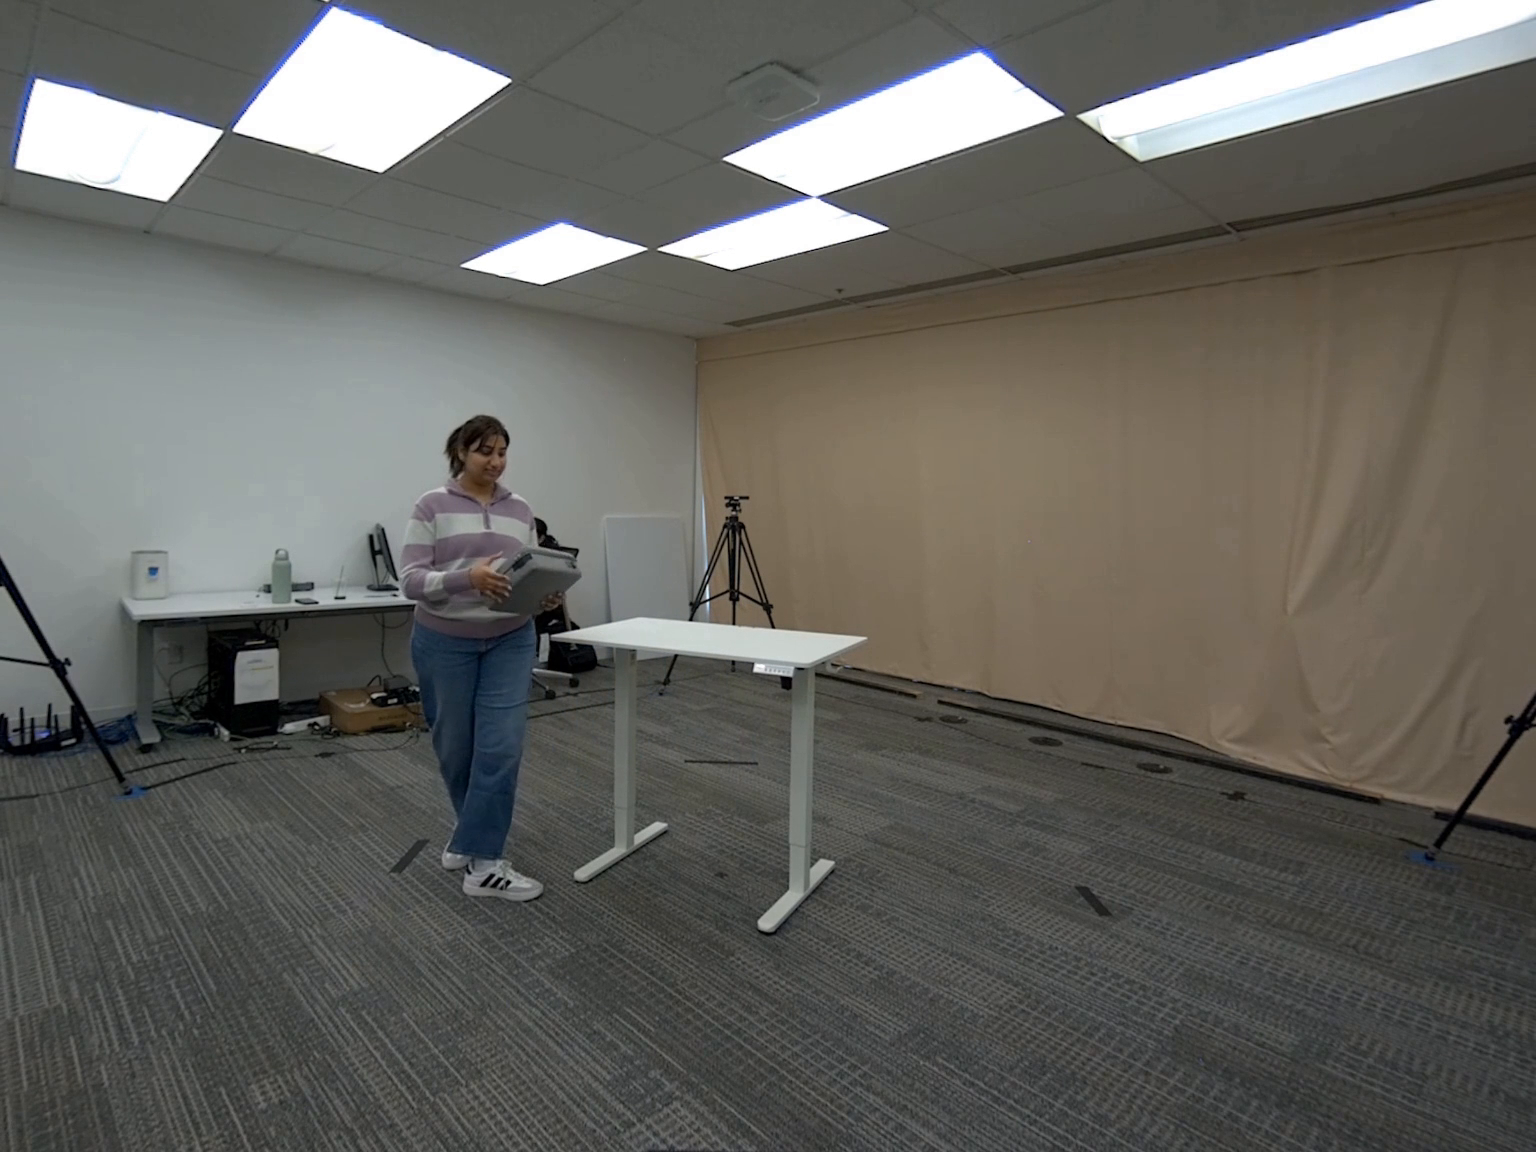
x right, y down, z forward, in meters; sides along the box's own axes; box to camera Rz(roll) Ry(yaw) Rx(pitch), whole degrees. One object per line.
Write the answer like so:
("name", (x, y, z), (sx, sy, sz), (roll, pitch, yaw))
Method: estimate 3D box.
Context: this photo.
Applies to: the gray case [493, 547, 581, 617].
("gray case", (-0.797, 0.014, 2.781), (0.258, 0.106, 0.254), (-36, -21, 17))
